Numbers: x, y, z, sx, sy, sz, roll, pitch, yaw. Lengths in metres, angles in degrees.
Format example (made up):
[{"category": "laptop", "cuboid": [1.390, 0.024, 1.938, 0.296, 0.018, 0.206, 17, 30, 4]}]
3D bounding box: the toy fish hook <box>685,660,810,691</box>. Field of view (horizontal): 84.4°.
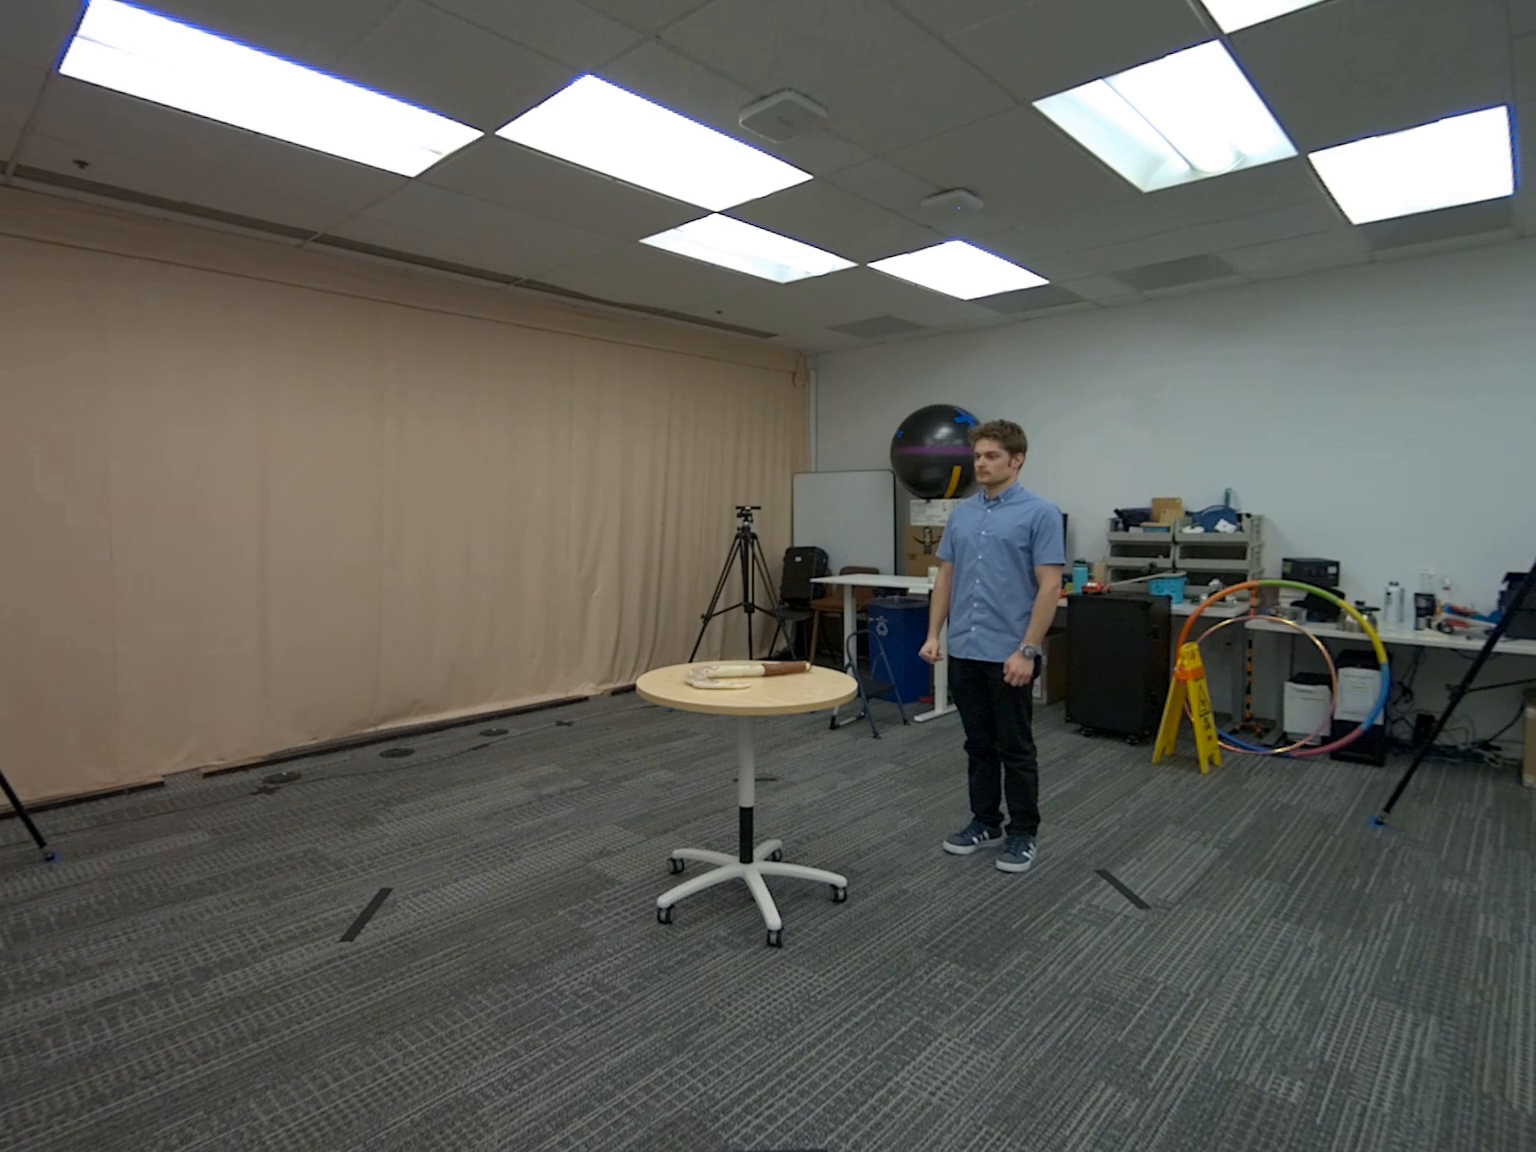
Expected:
[{"category": "toy fish hook", "cuboid": [-0.038, 0.354, 2.948, 0.495, 0.048, 0.231, -3, 11, -24]}]
